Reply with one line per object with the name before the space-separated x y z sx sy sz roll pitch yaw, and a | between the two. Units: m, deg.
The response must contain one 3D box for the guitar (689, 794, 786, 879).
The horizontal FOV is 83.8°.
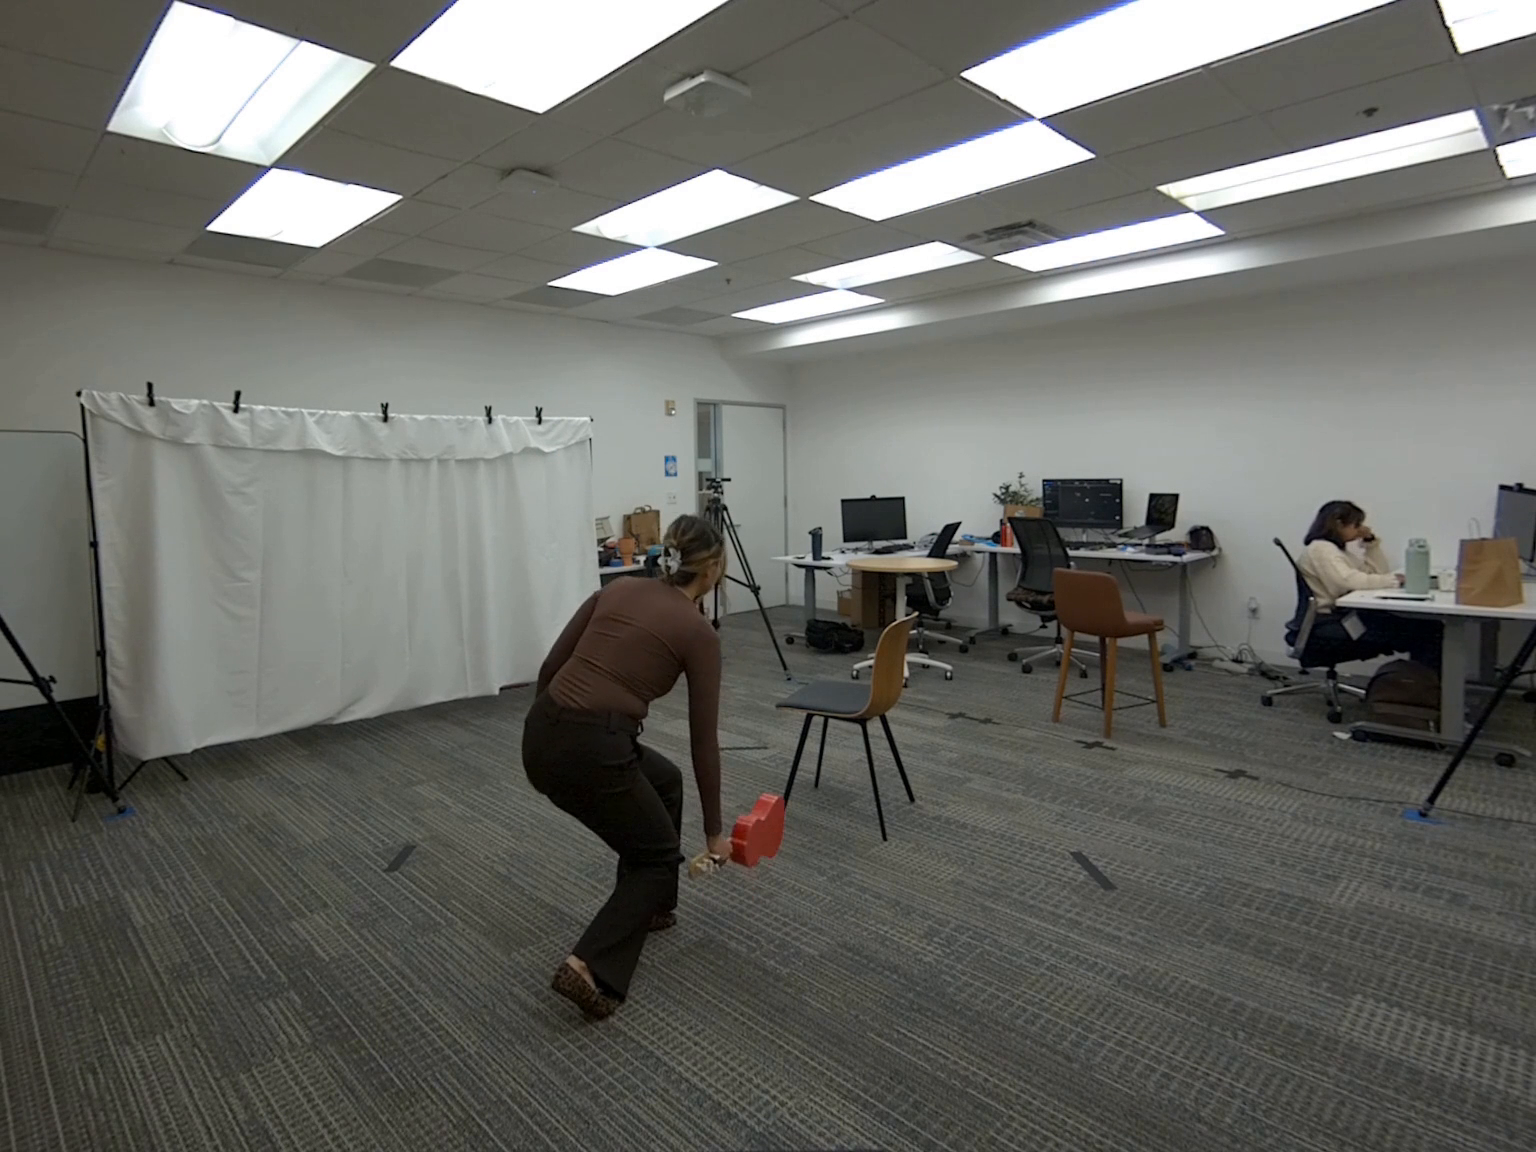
guitar | -0.083 0.831 2.585 0.072 0.191 0.491 7 16 25
